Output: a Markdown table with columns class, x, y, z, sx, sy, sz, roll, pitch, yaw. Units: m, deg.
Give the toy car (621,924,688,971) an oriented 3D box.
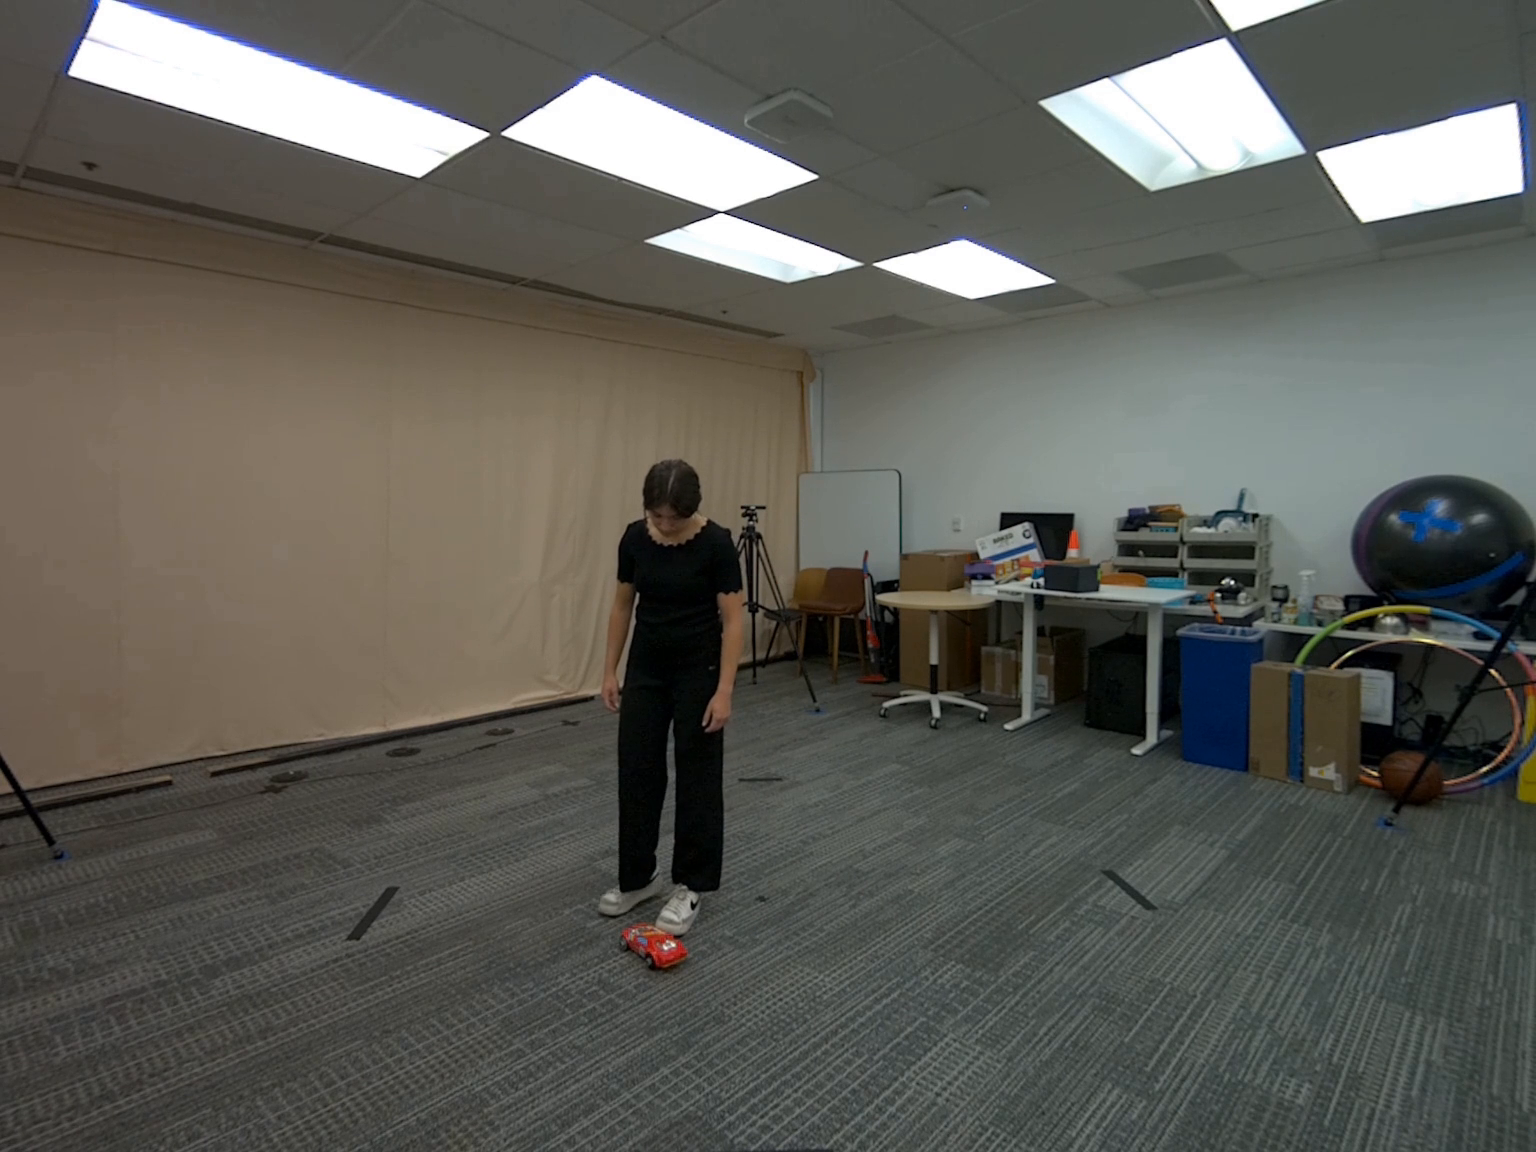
| class | x | y | z | sx | sy | sz | roll | pitch | yaw |
| --- | --- | --- | --- | --- | --- | --- | --- | --- | --- |
| toy car | -0.351 | 1.143 | 2.600 | 0.126 | 0.083 | 0.261 | -5 | -4 | -41 |
